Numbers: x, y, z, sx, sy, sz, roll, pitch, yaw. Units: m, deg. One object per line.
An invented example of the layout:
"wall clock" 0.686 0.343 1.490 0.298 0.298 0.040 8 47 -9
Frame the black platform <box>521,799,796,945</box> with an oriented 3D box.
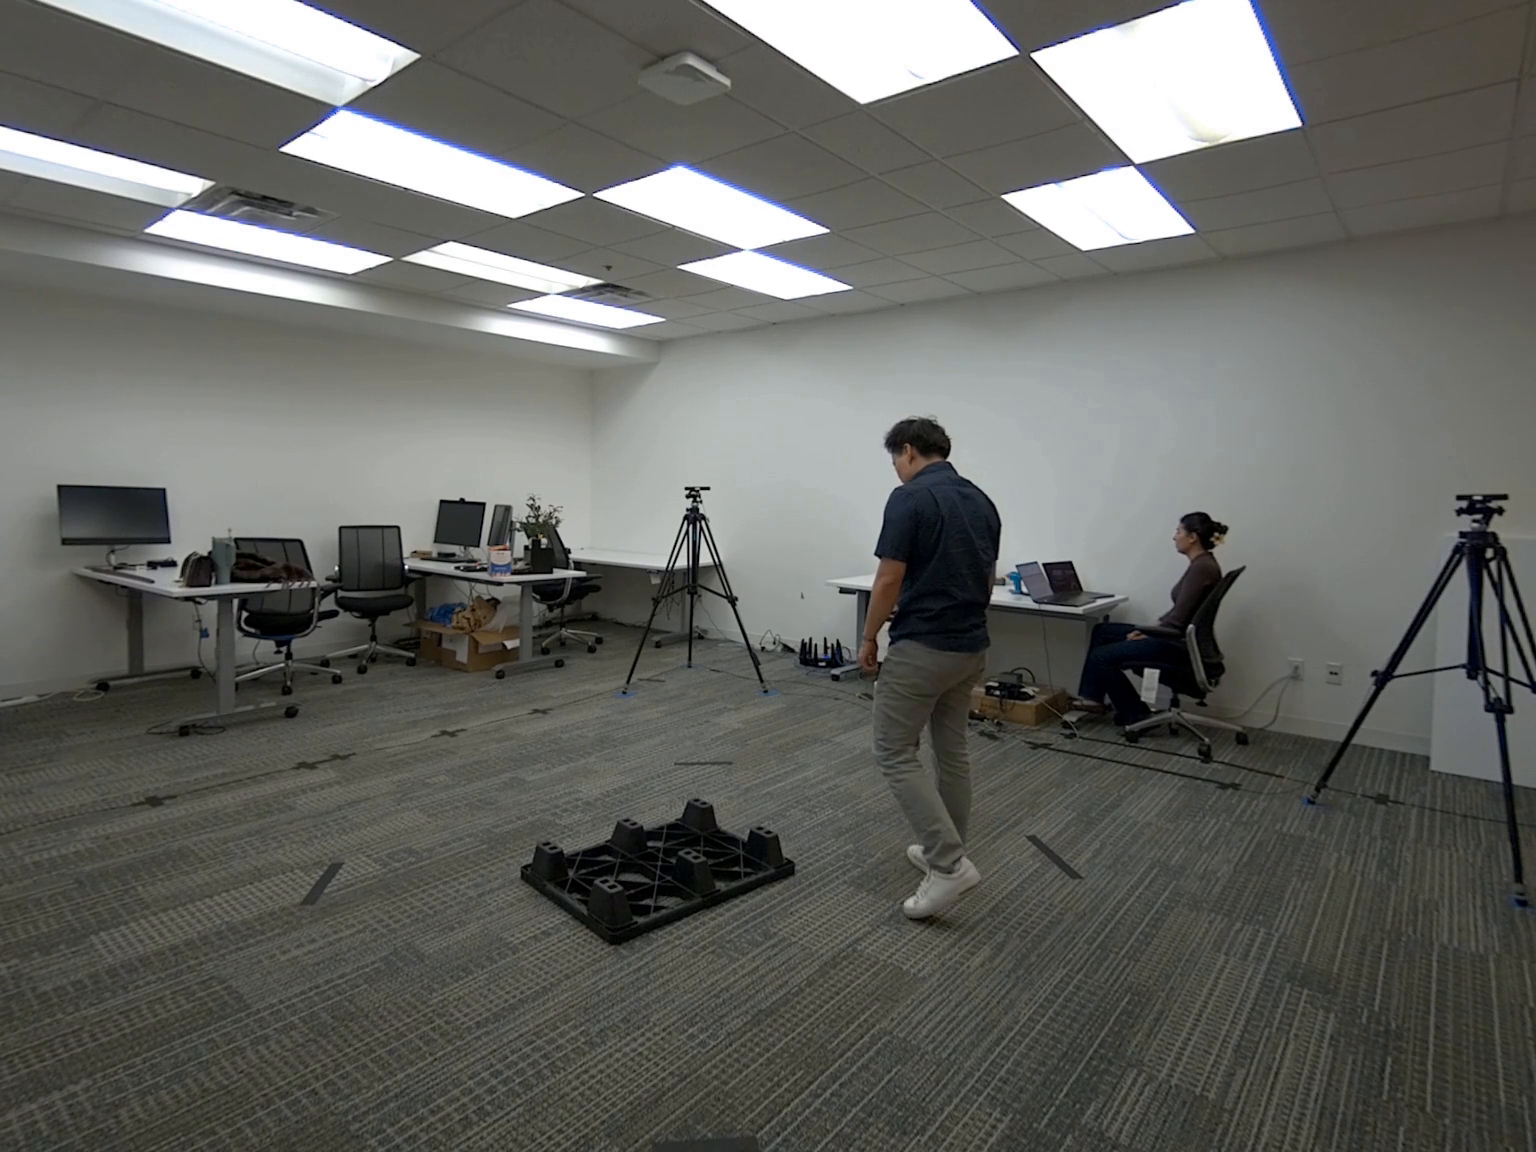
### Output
"black platform" -0.397 1.002 3.047 0.781 0.143 0.626 -4 8 -43
